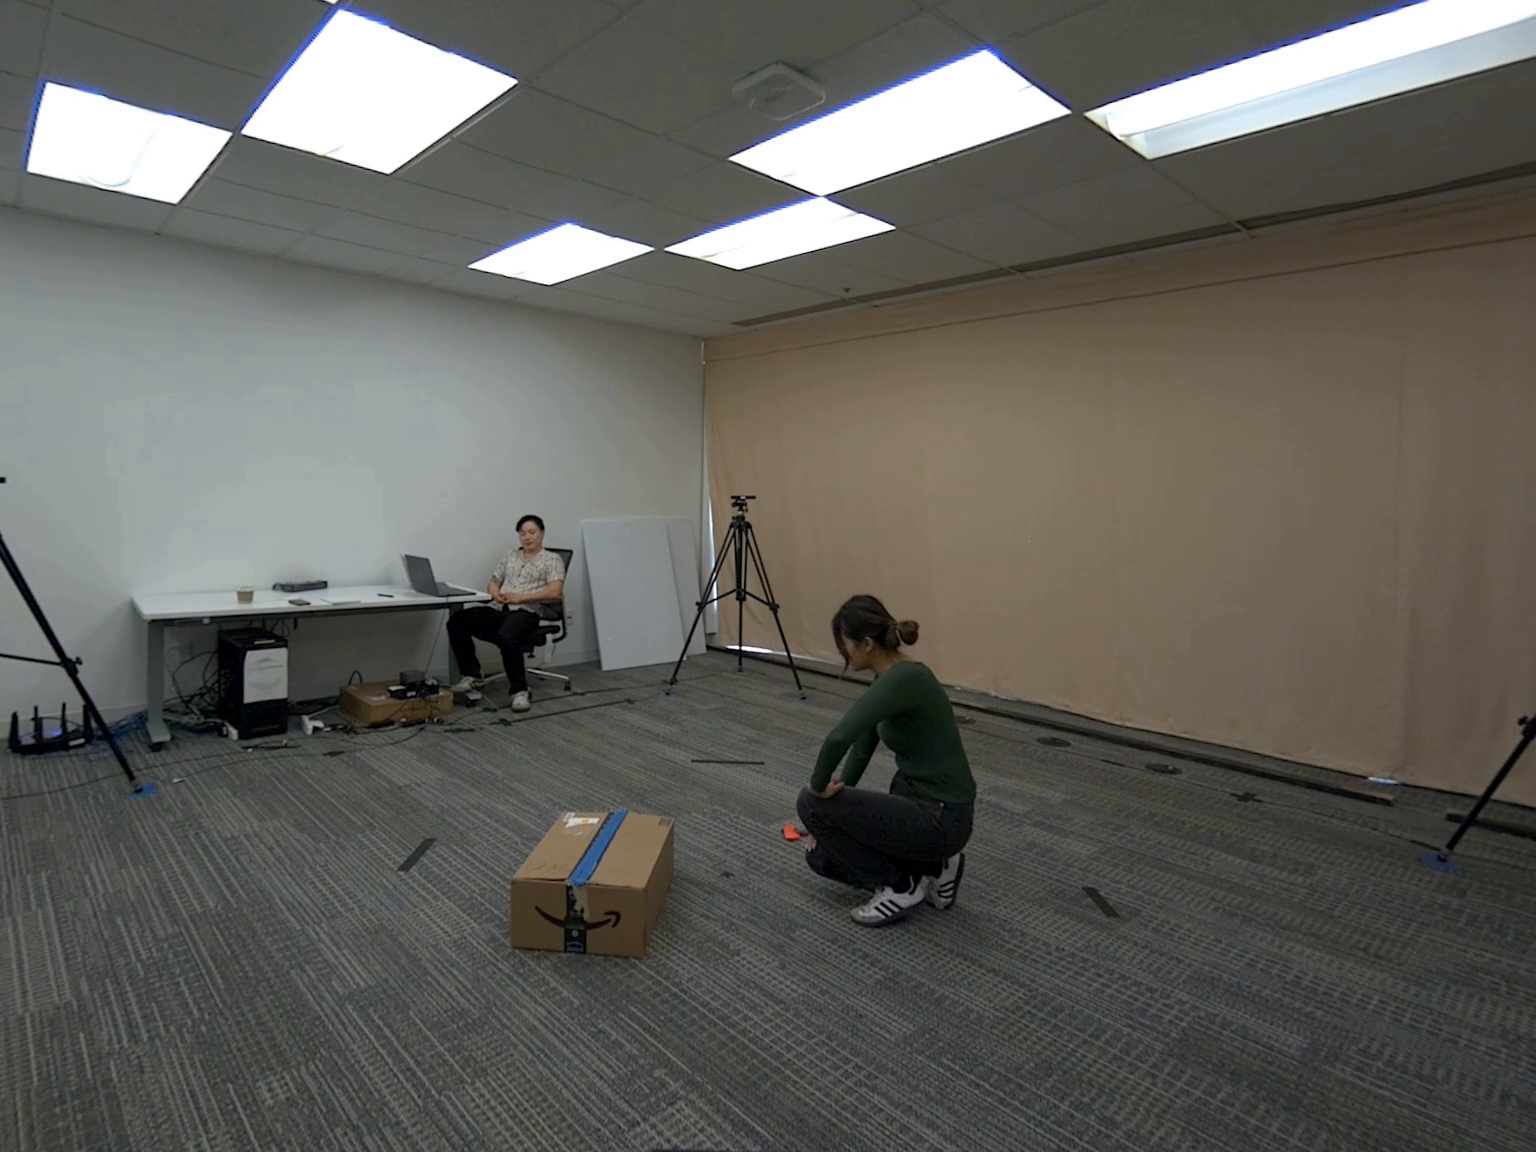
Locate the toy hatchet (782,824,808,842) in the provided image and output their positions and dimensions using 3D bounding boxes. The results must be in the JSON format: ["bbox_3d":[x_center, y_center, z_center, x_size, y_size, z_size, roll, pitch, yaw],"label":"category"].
[{"bbox_3d":[0.170,1.066,3.443,0.275,0.029,0.129,5,6,26],"label":"toy hatchet"}]
